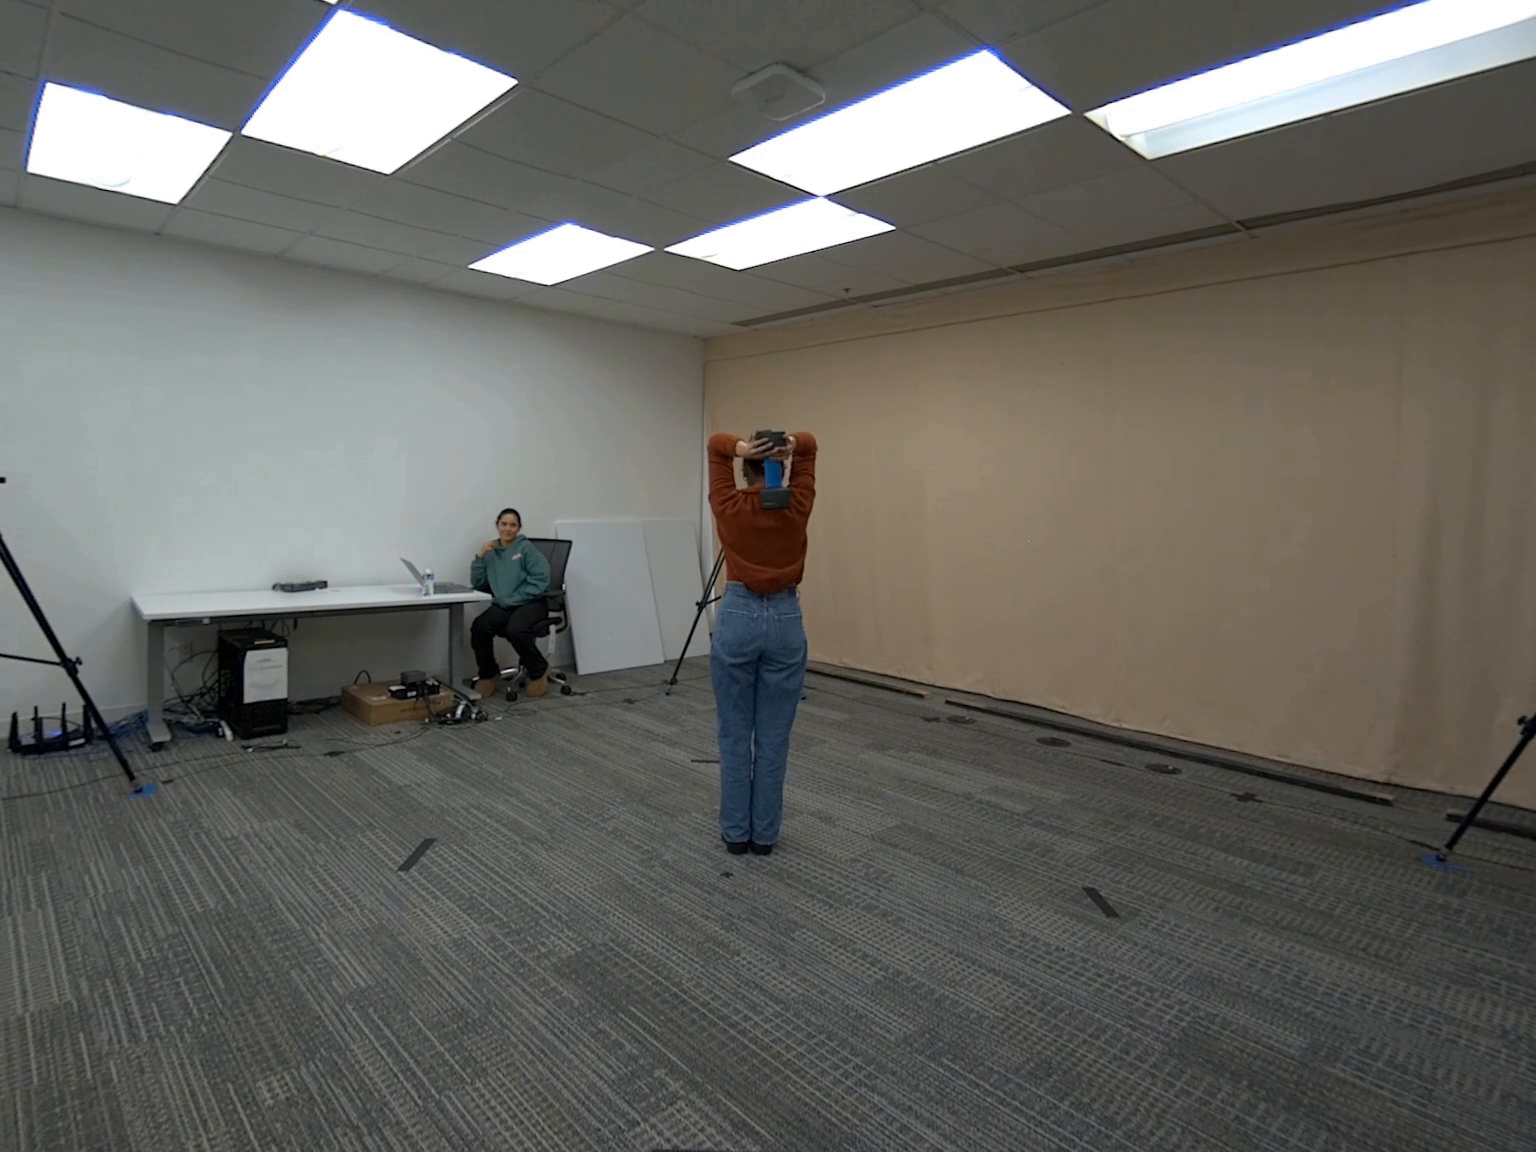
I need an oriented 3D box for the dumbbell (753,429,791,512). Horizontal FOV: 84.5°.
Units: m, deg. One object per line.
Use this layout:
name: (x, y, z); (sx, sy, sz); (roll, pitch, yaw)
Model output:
dumbbell: (0.007, -0.389, 3.107); (0.108, 0.293, 0.124); (-1, 1, -11)
